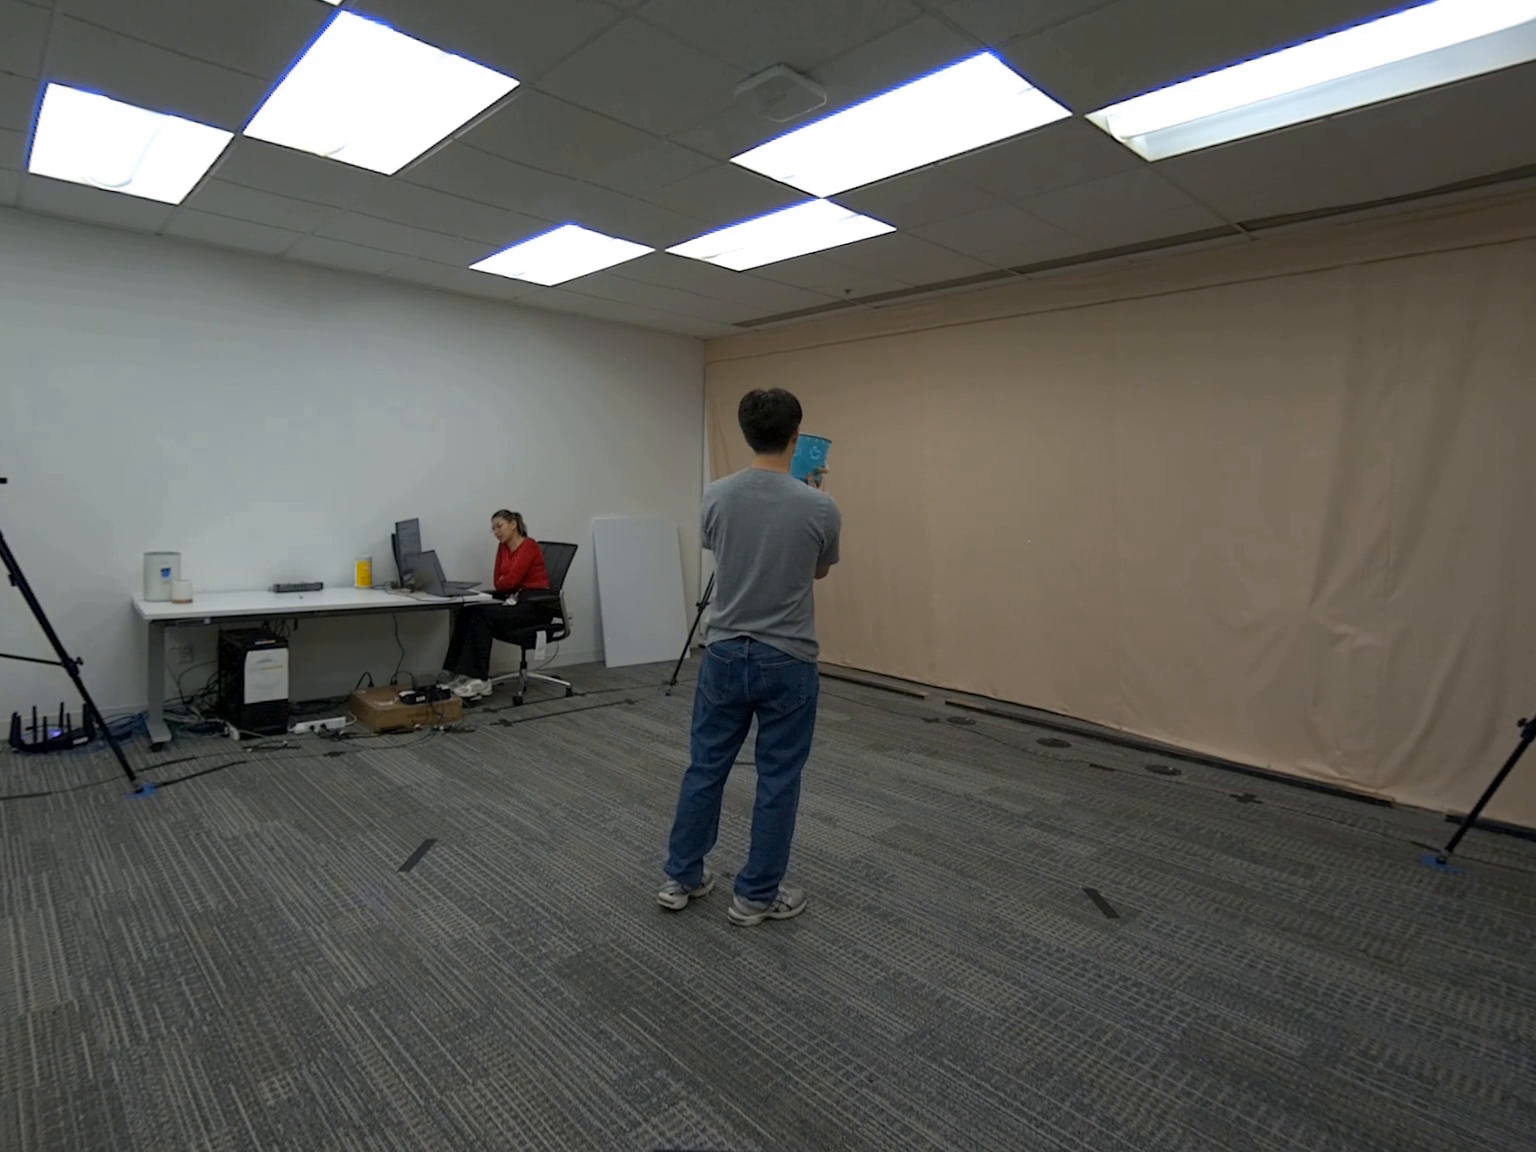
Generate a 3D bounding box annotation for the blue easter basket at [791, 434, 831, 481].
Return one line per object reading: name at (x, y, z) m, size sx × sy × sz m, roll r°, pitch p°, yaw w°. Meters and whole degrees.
blue easter basket at (0.106, -0.426, 3.085) m, size 0.243 × 0.156 × 0.243 m, roll 8°, pitch 0°, yaw -1°
